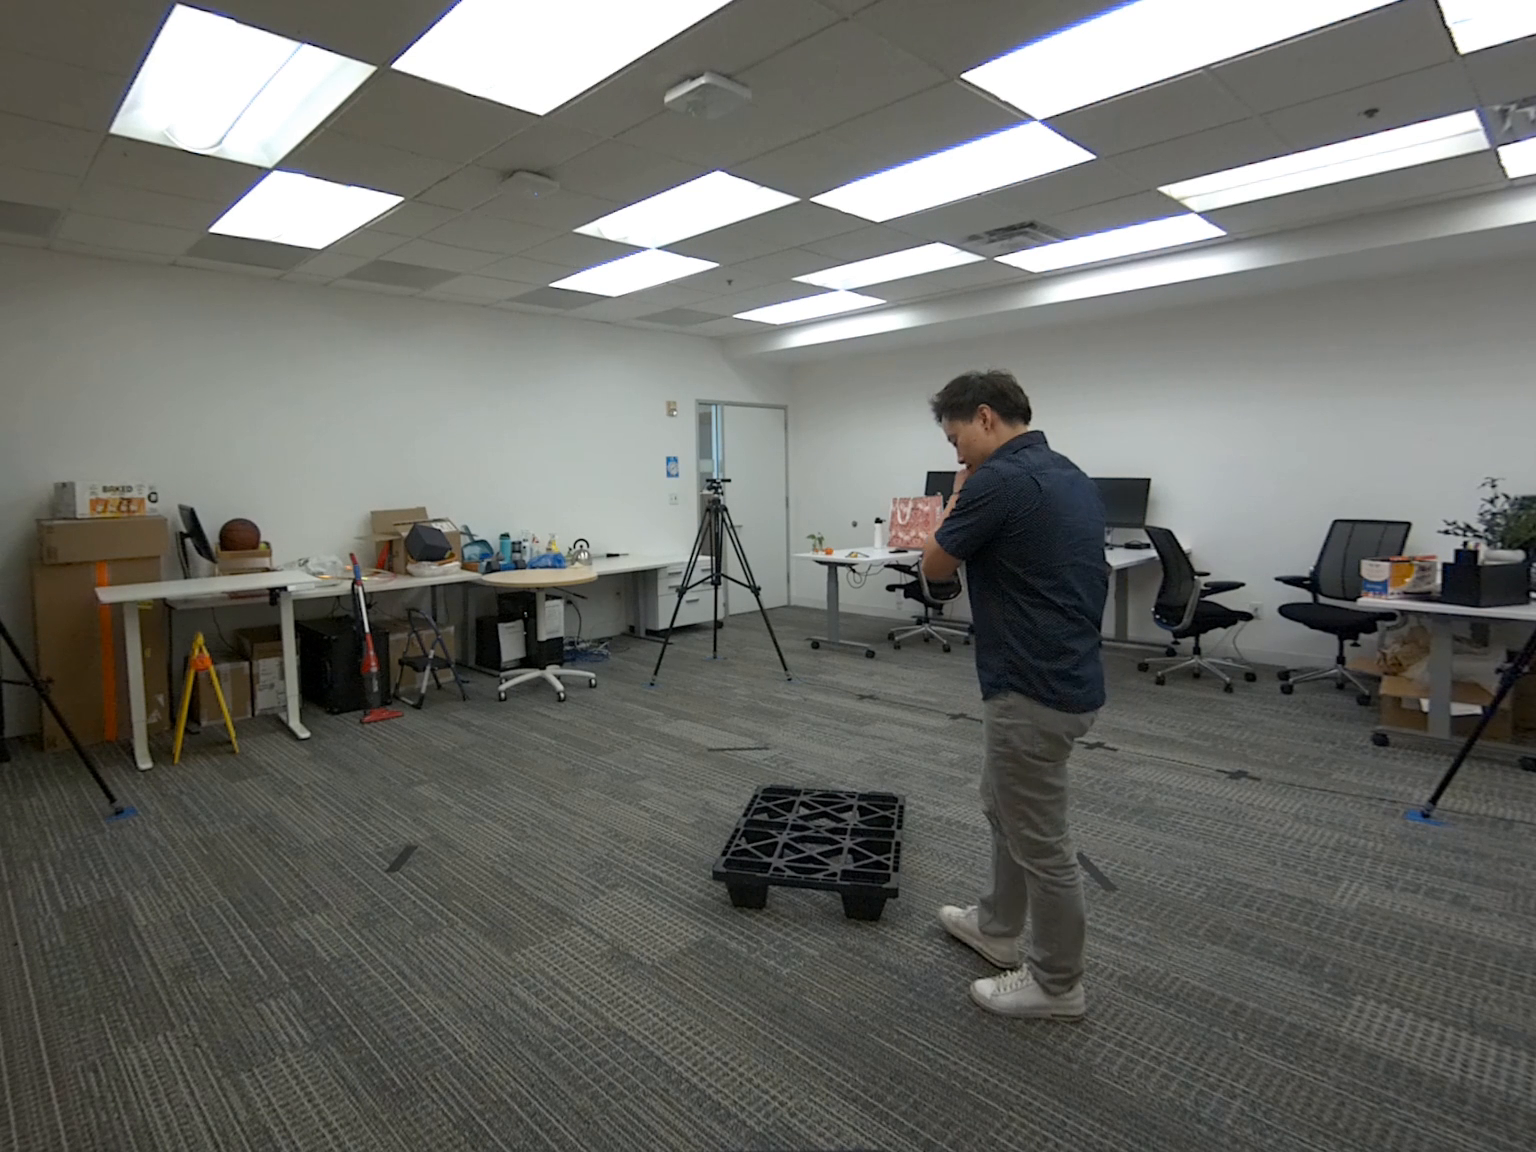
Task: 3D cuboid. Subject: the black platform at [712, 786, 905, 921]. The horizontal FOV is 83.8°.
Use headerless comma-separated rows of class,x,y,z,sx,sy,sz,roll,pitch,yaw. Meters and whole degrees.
black platform,0.180,0.976,3.084,0.613,0.143,0.799,0,6,12
